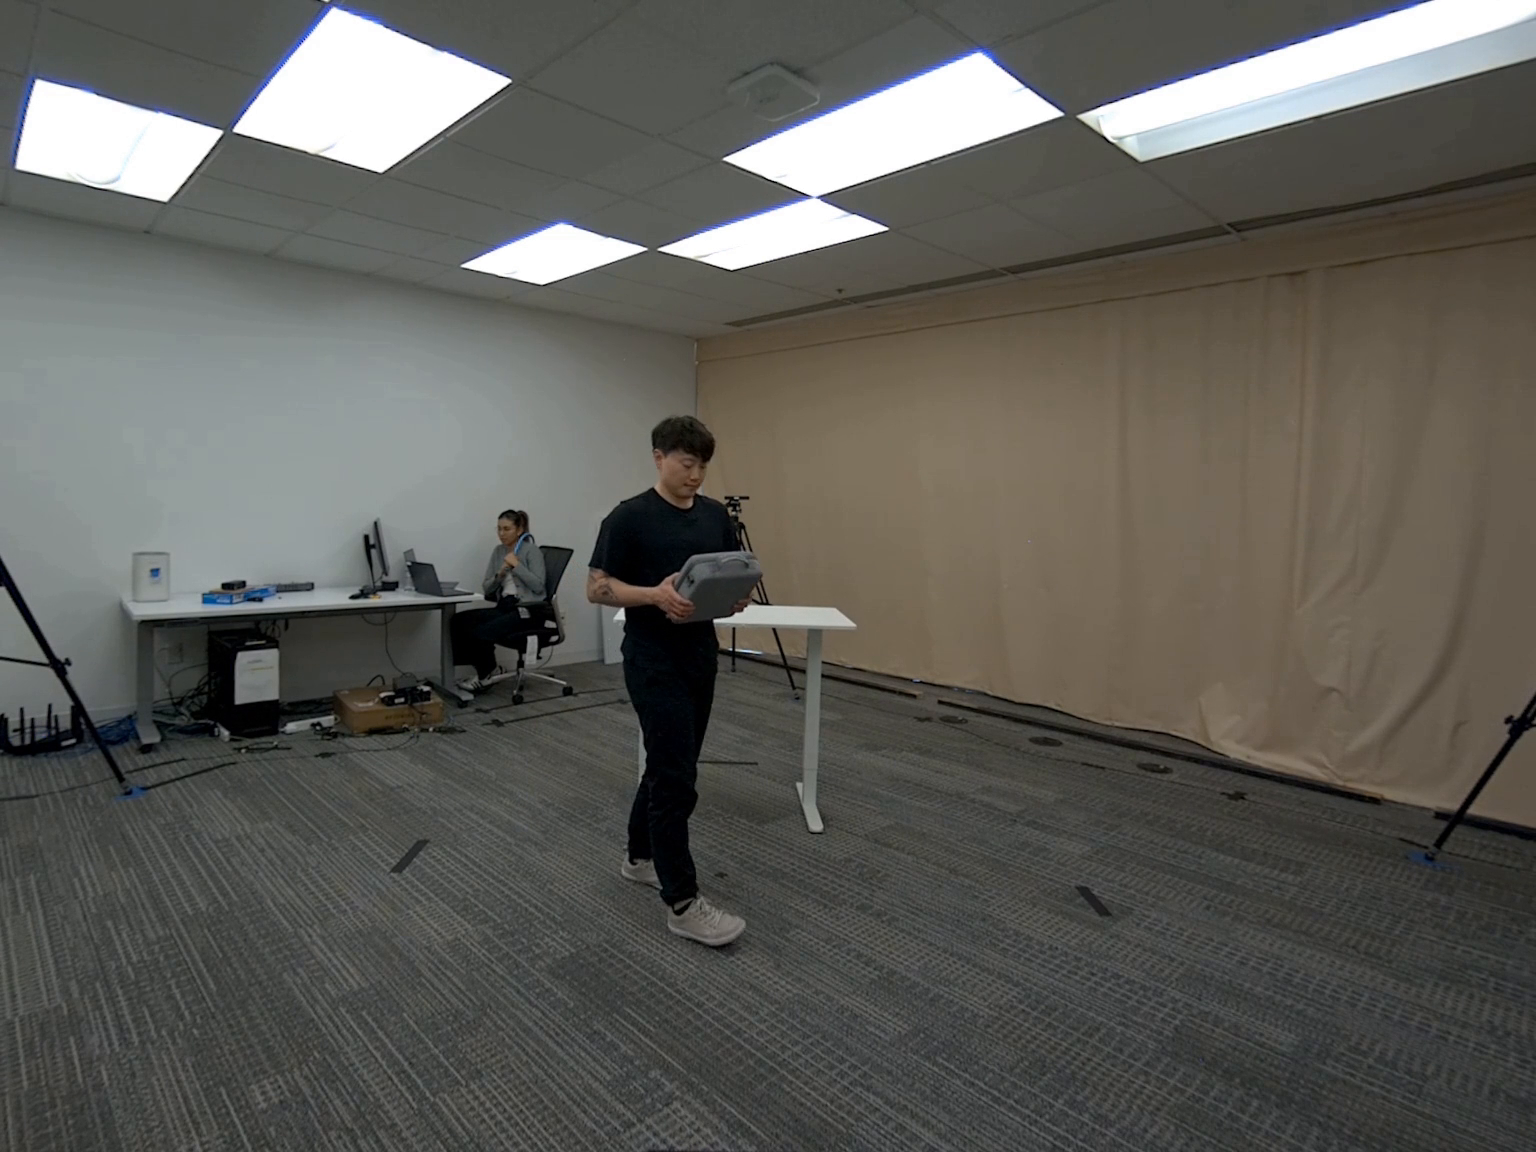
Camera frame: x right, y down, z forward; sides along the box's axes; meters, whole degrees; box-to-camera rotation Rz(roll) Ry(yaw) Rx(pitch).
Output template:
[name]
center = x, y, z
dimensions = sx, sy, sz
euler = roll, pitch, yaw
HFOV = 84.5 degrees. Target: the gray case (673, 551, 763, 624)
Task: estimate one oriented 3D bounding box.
[gray case]
center = -0.176, 0.028, 2.665
dimensions = 0.251, 0.107, 0.259
euler = -4, -35, -36
